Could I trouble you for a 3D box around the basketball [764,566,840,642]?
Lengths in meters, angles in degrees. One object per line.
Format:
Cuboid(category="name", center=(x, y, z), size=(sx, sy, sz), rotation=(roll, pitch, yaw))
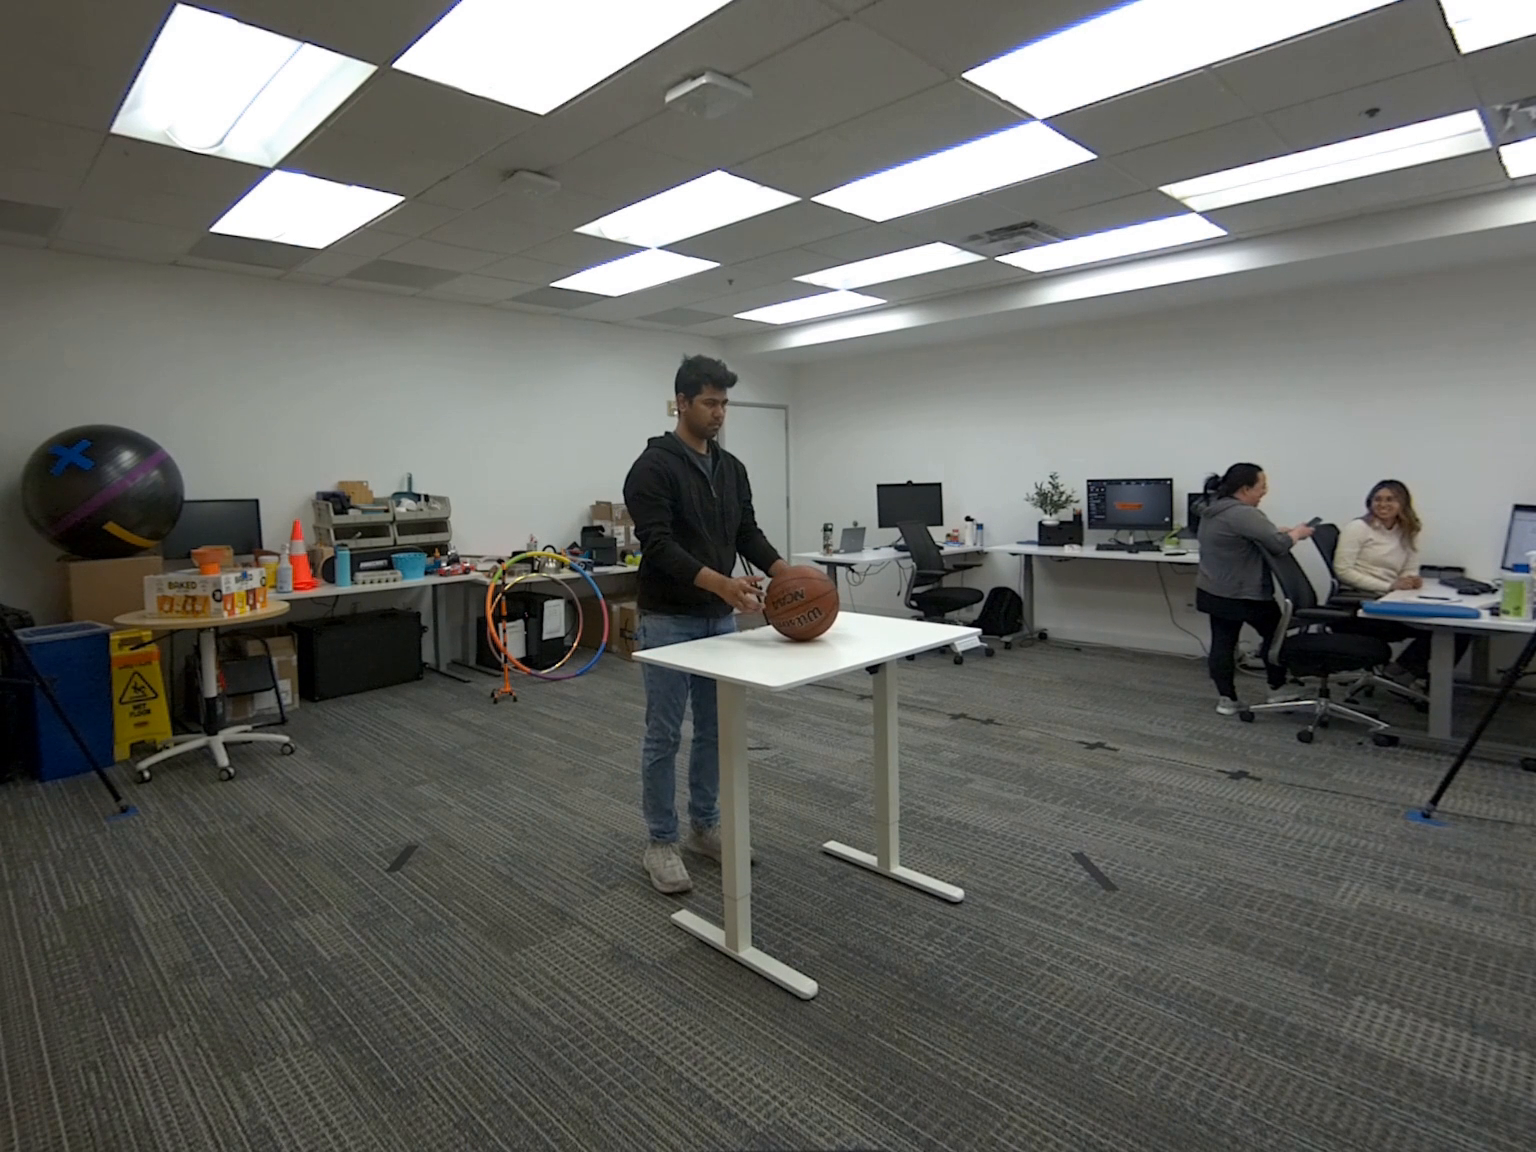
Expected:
Cuboid(category="basketball", center=(0.103, 0.081, 2.726), size=(0.236, 0.235, 0.237), rotation=(-1, 5, -2))
